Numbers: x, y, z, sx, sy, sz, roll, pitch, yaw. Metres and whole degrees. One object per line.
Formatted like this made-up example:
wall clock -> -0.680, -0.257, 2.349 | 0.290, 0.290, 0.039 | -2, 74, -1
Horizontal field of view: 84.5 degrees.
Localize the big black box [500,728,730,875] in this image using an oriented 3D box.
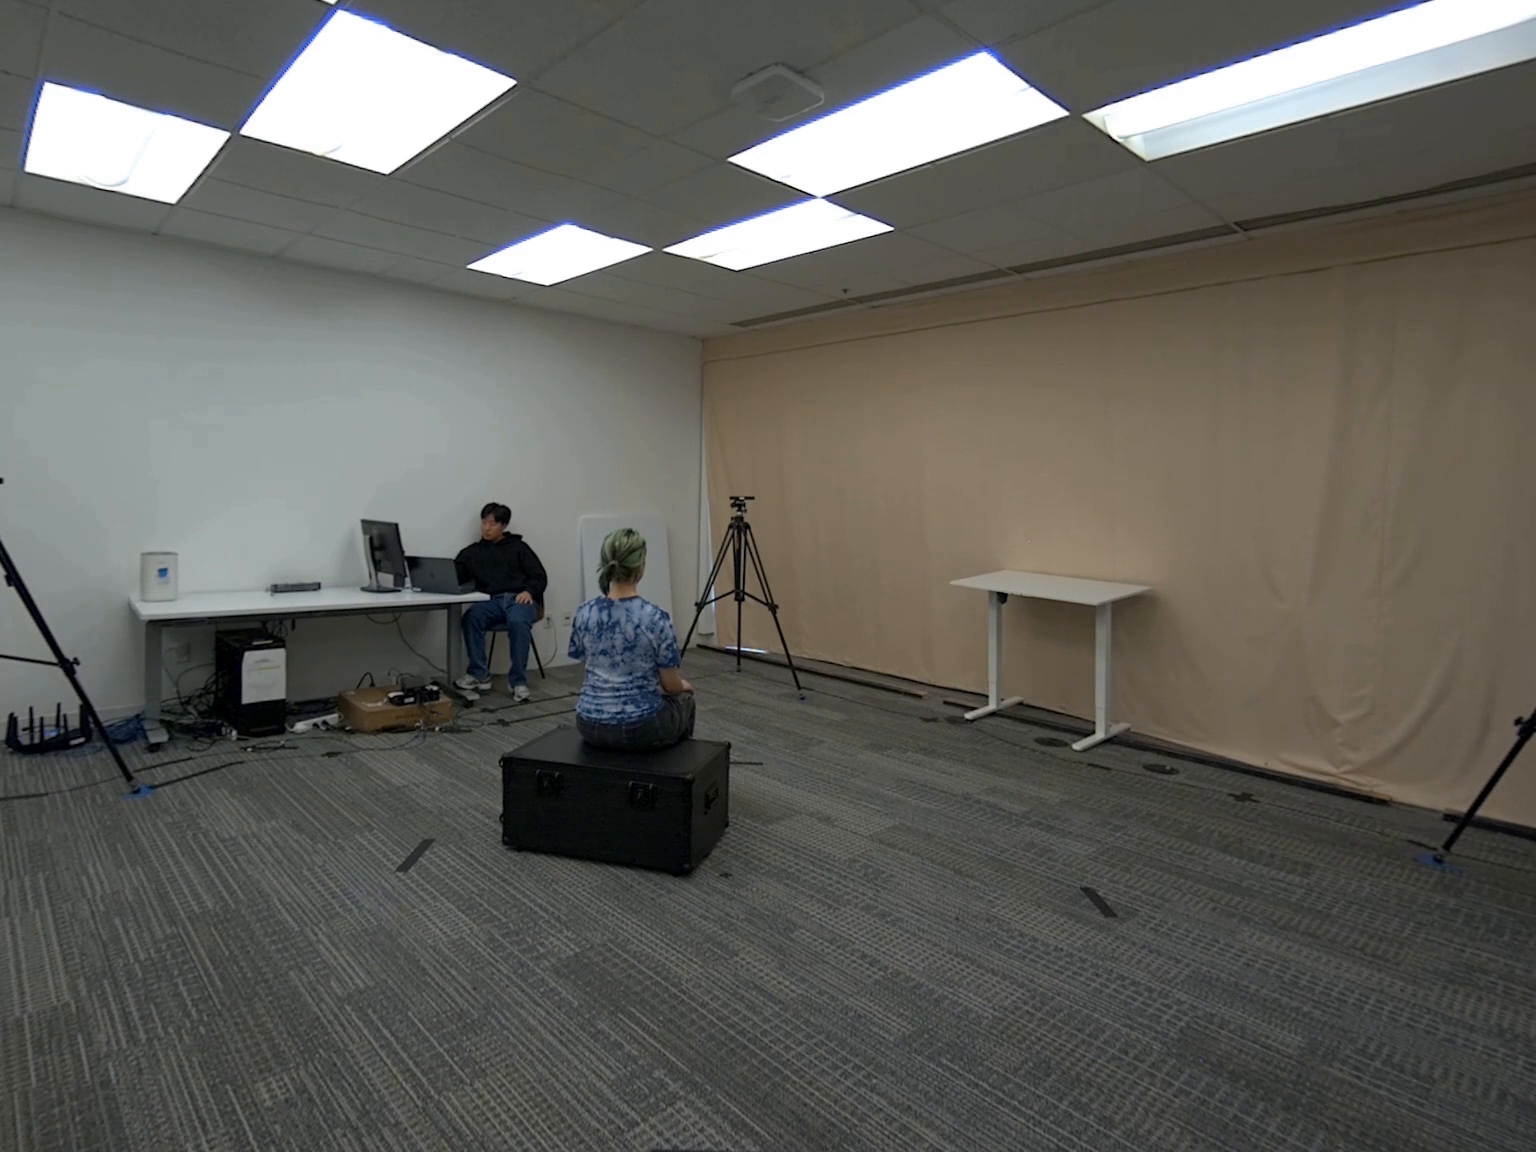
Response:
big black box -> -0.633, 0.878, 3.387 | 0.872, 0.395, 0.516 | 3, 5, 15
